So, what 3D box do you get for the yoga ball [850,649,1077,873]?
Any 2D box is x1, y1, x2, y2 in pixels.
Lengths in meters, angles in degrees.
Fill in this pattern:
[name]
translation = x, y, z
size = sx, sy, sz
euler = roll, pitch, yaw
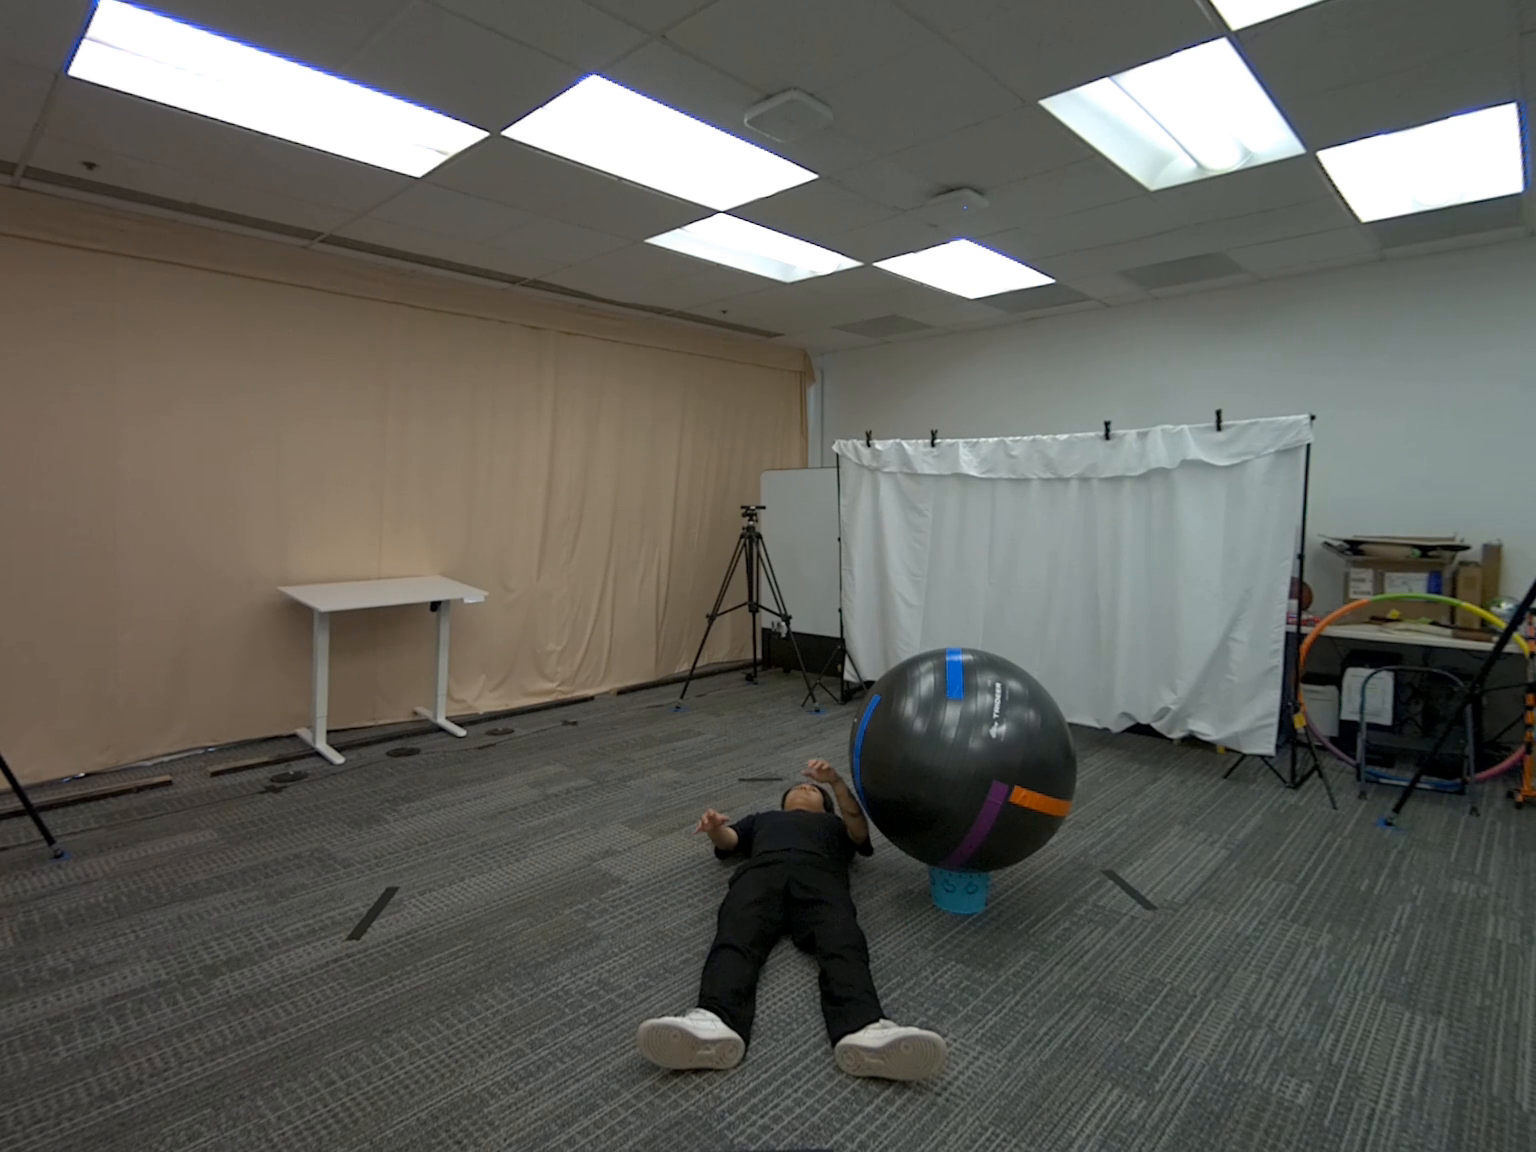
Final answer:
[yoga ball]
translation = 0.672, 0.637, 2.933
size = 0.757, 0.756, 0.760
euler = 0, 4, -2
